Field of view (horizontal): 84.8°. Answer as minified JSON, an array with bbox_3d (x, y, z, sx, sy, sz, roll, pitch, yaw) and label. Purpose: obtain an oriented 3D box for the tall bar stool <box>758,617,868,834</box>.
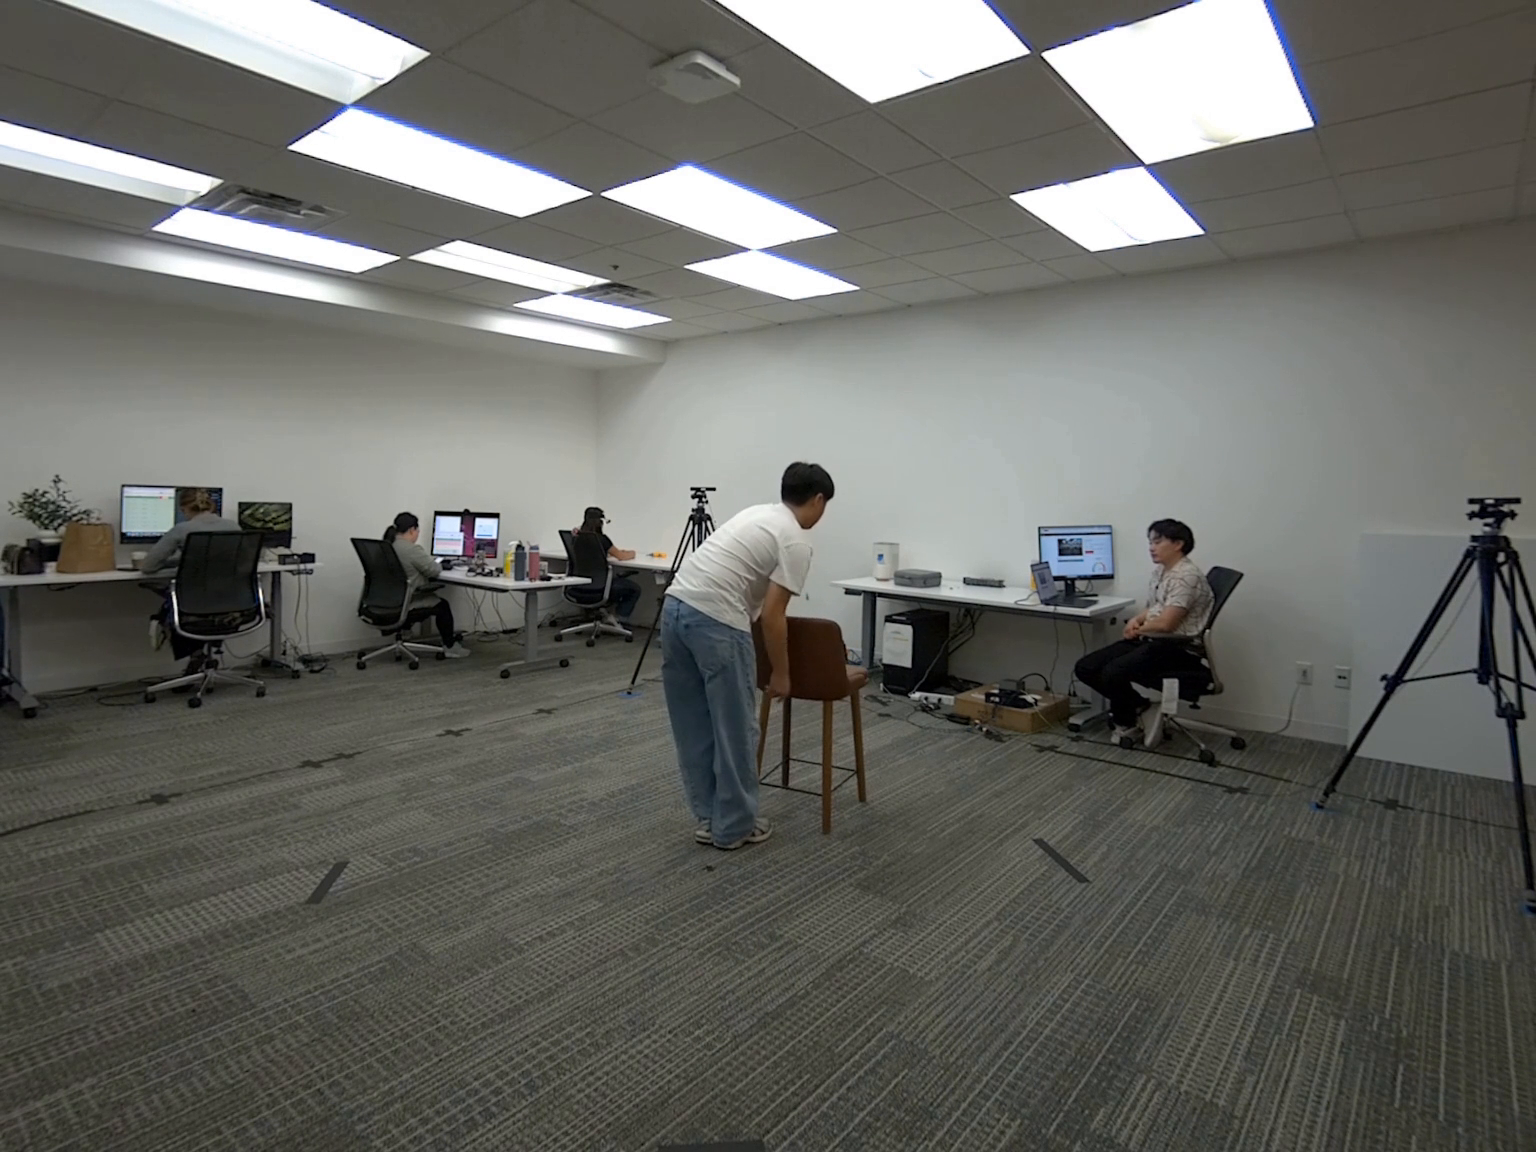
[{"bbox_3d":[0.161,0.577,3.695,0.469,0.886,0.457,3,5,27],"label":"tall bar stool"}]
